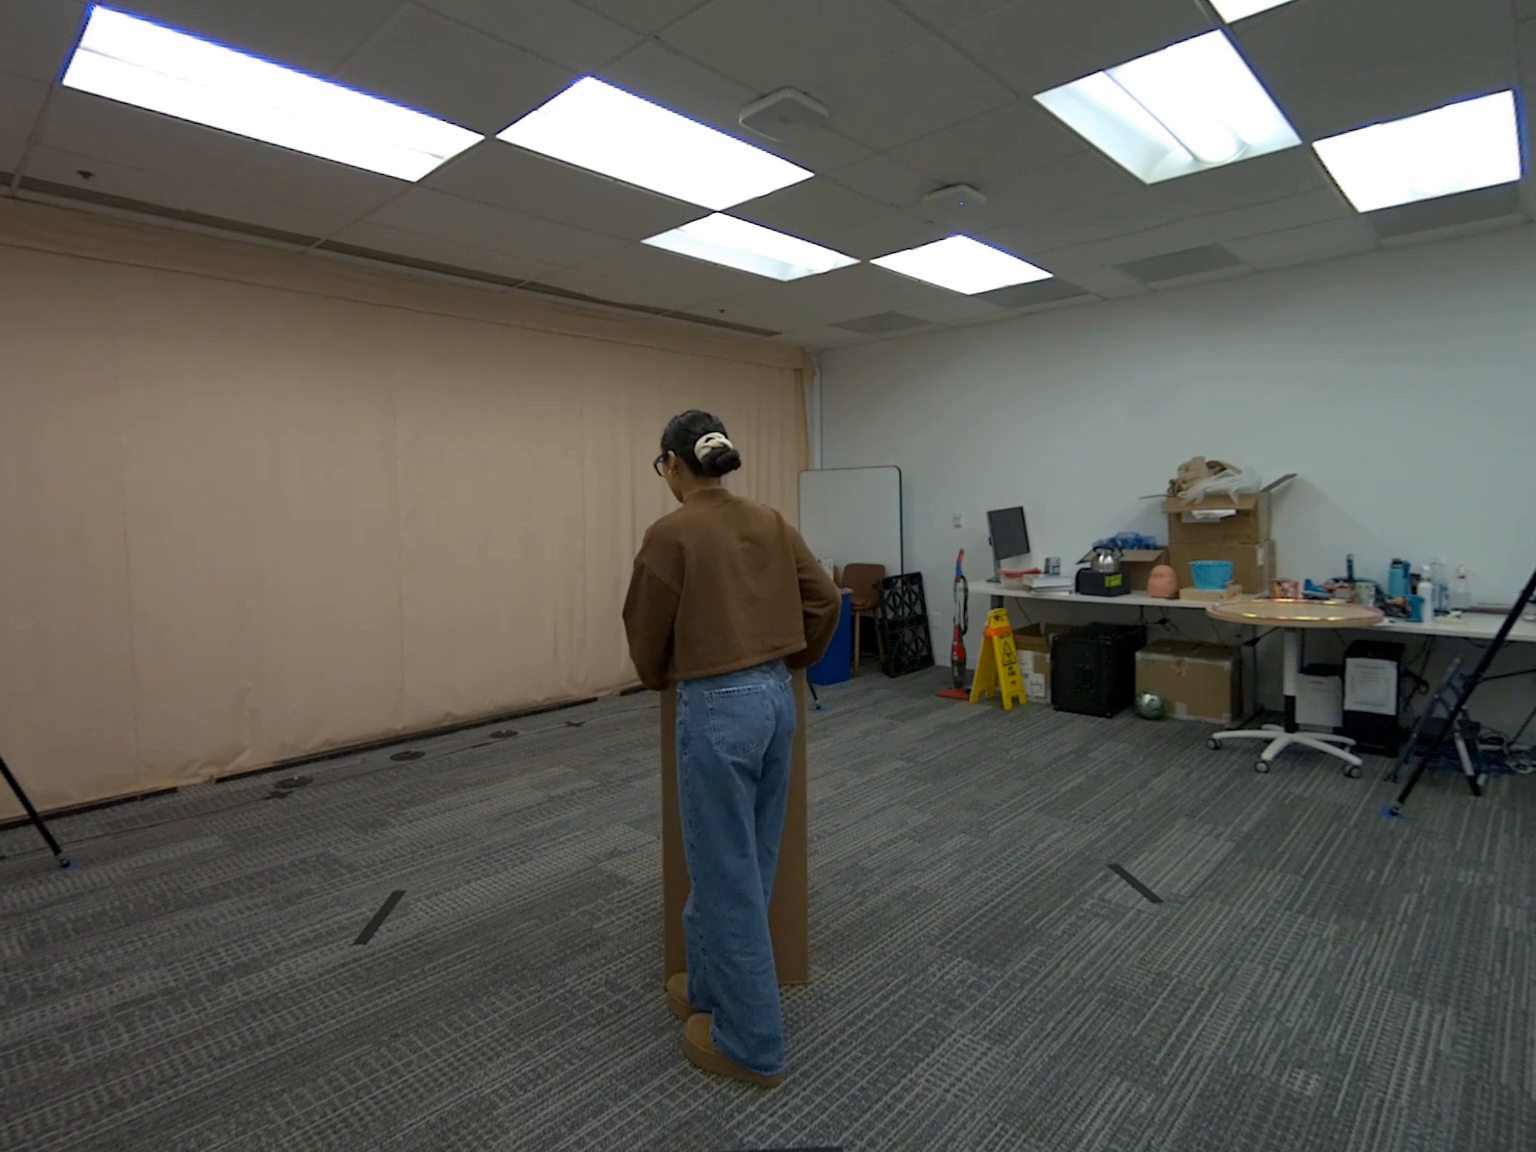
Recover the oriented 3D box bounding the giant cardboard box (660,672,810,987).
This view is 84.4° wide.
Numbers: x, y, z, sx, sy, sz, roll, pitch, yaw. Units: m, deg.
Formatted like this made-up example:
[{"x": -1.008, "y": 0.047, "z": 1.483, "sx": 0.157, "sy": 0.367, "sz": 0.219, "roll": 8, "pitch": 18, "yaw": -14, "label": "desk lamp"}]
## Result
[{"x": -0.120, "y": 0.659, "z": 2.694, "sx": 0.424, "sy": 1.024, "sz": 0.581, "roll": -1, "pitch": 3, "yaw": -5, "label": "giant cardboard box"}]
